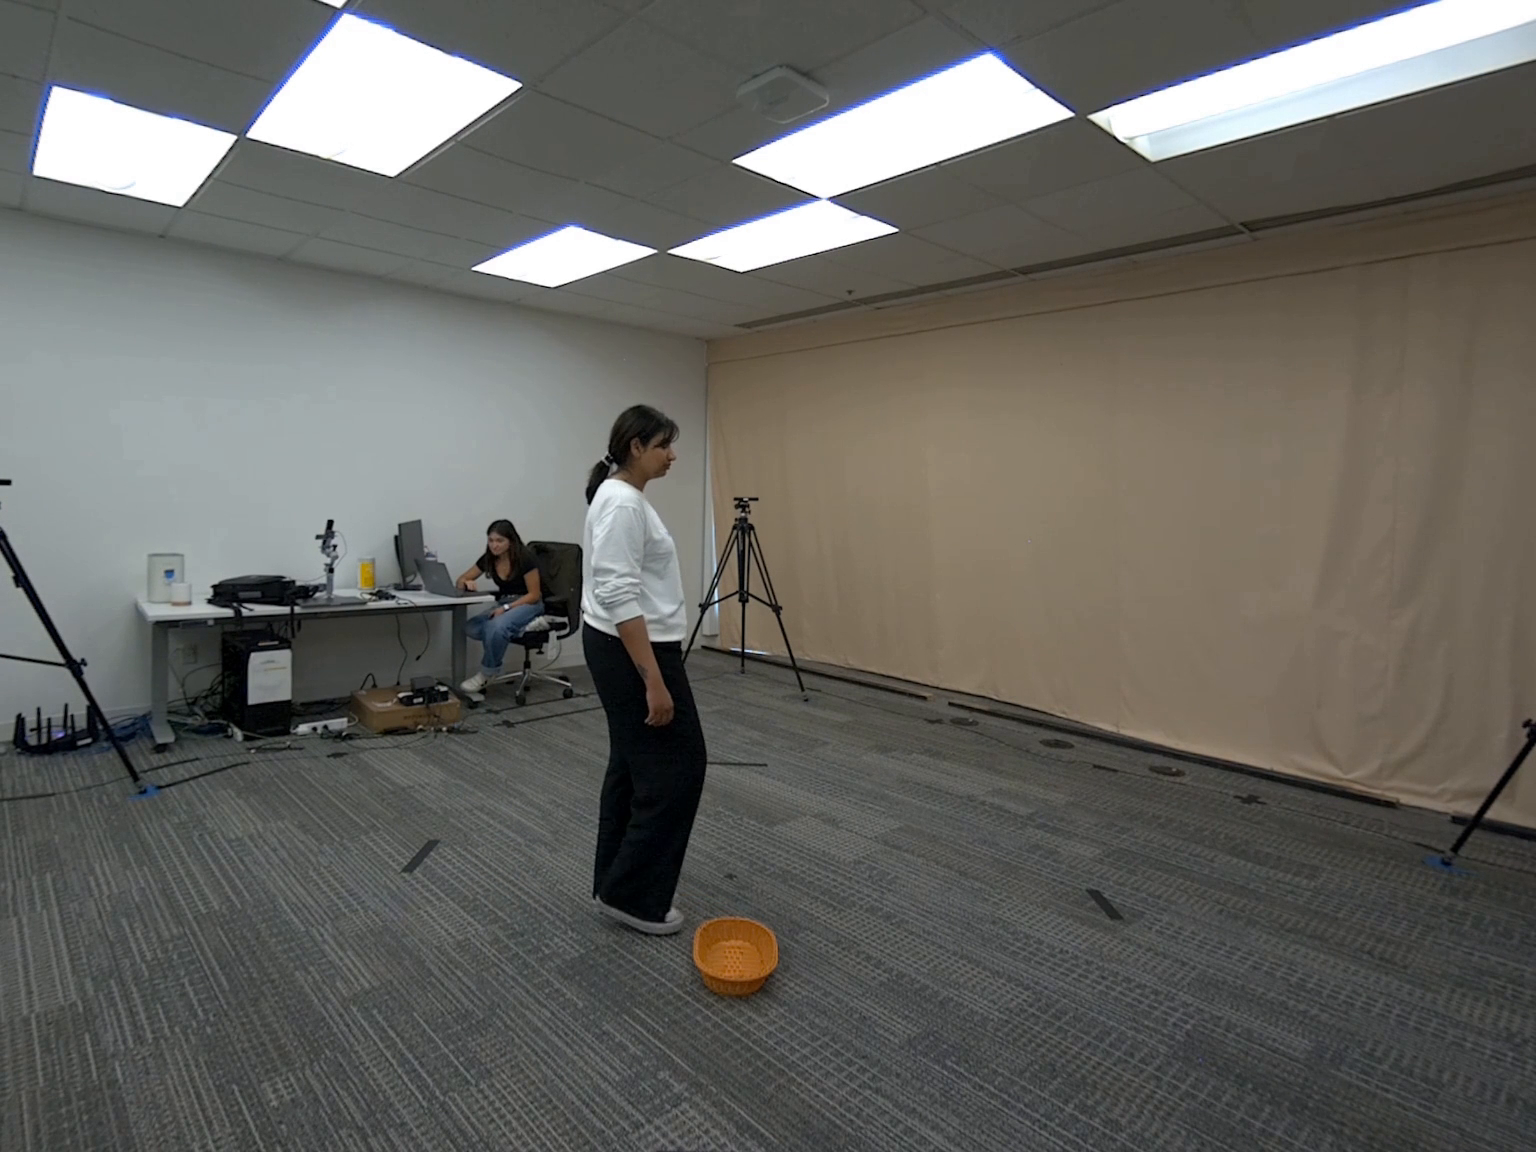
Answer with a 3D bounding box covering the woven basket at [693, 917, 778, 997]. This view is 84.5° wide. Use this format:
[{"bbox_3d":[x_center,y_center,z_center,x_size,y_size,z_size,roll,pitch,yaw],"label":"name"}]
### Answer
[{"bbox_3d":[-0.106,1.126,2.488,0.253,0.073,0.351,3,5,1],"label":"woven basket"}]
